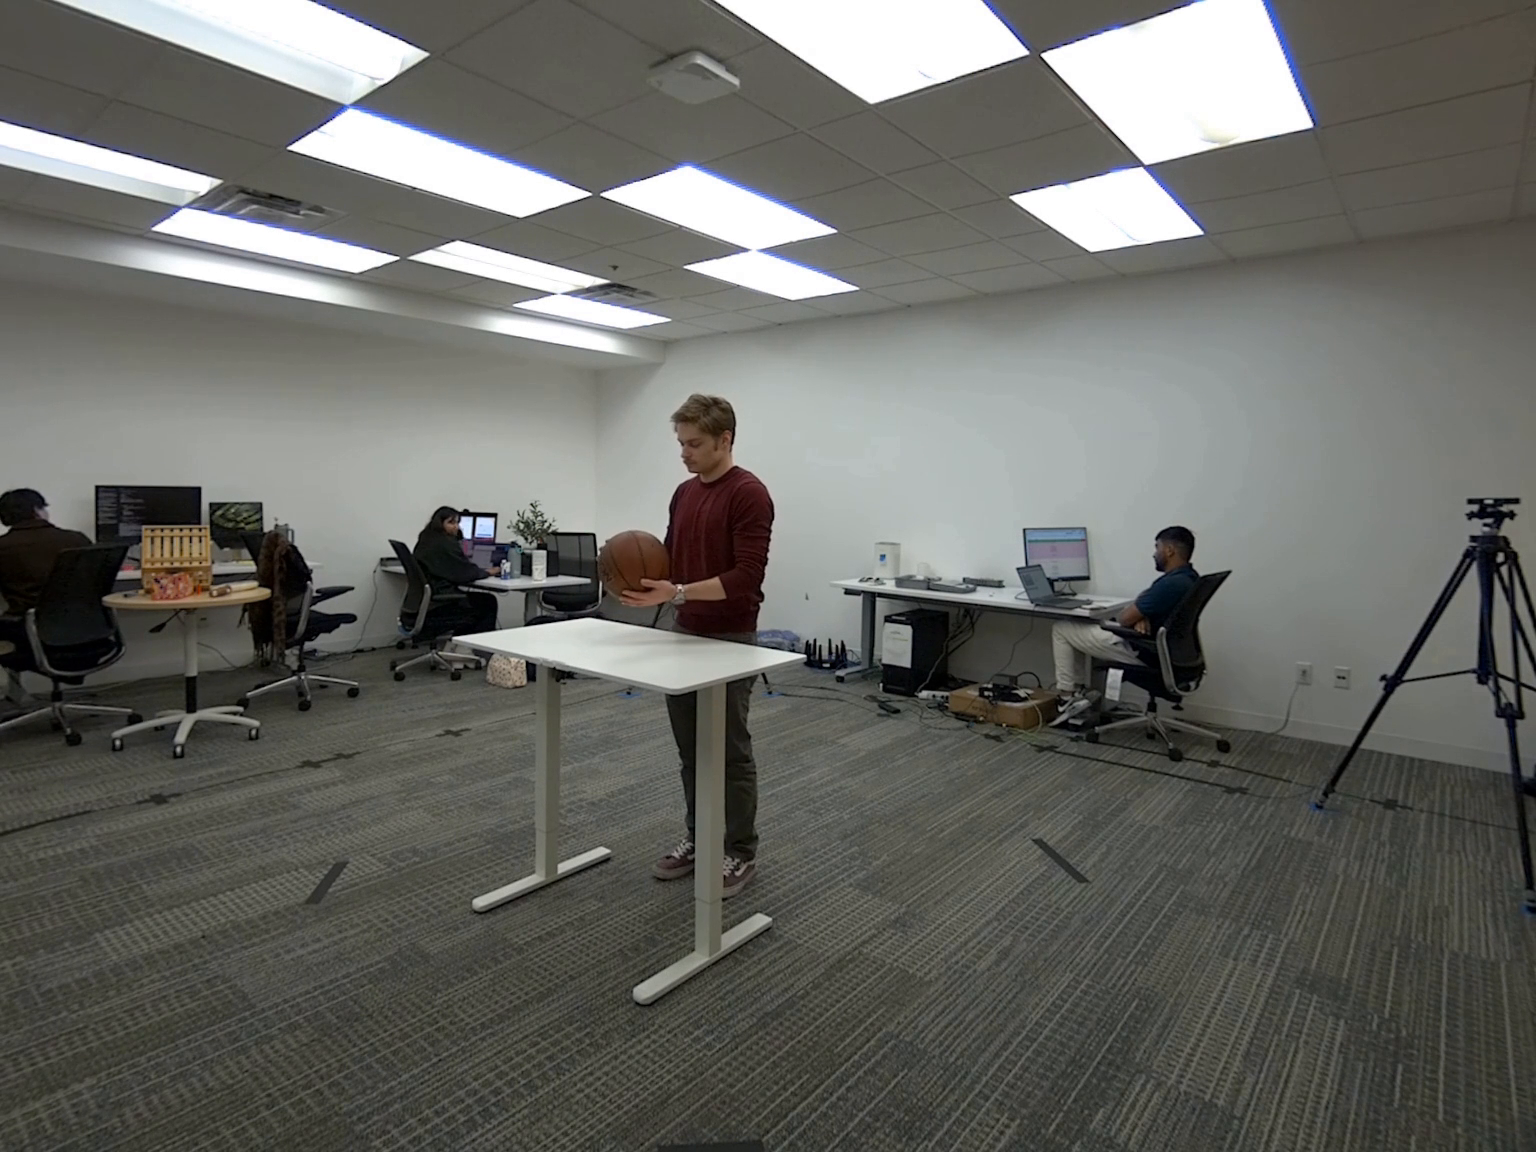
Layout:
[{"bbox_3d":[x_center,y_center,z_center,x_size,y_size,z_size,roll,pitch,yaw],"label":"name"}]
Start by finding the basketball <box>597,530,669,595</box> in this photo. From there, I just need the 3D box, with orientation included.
[{"bbox_3d":[-0.448,-0.036,2.804,0.235,0.235,0.237,1,4,-2],"label":"basketball"}]
